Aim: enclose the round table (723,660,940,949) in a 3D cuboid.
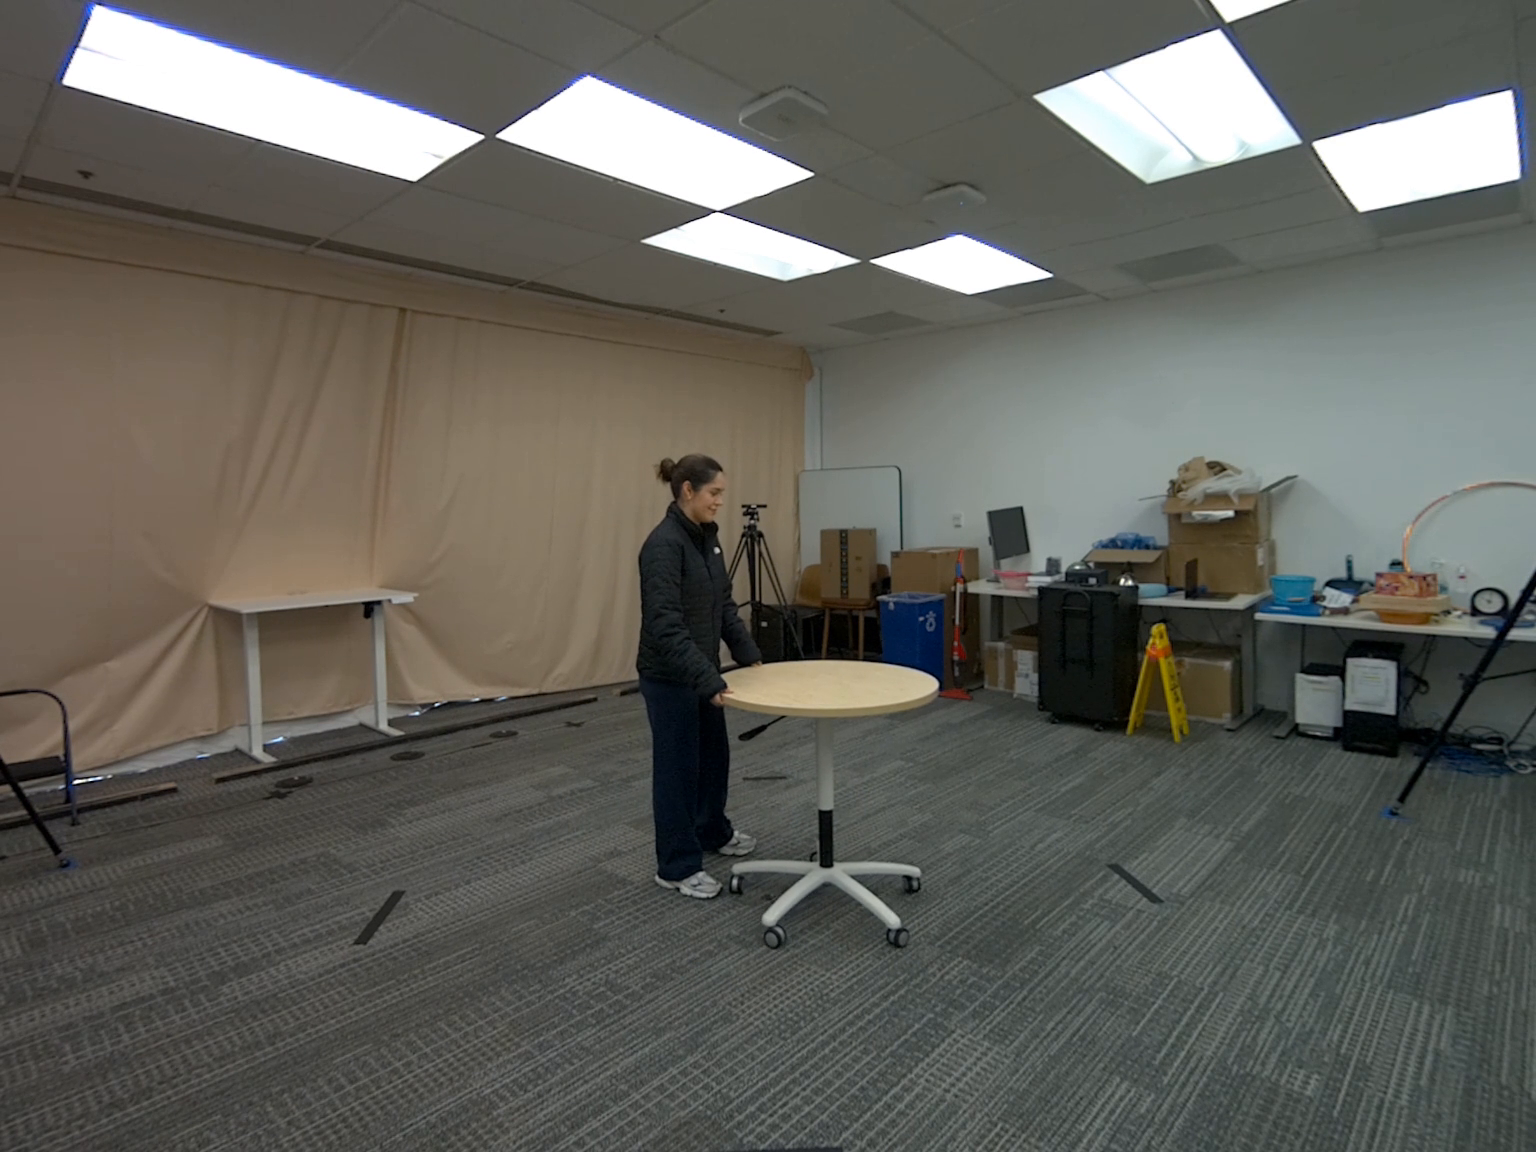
[{"bbox_3d":[0.204,0.749,2.905,0.784,0.784,0.788,-1,4,-2],"label":"round table"}]
